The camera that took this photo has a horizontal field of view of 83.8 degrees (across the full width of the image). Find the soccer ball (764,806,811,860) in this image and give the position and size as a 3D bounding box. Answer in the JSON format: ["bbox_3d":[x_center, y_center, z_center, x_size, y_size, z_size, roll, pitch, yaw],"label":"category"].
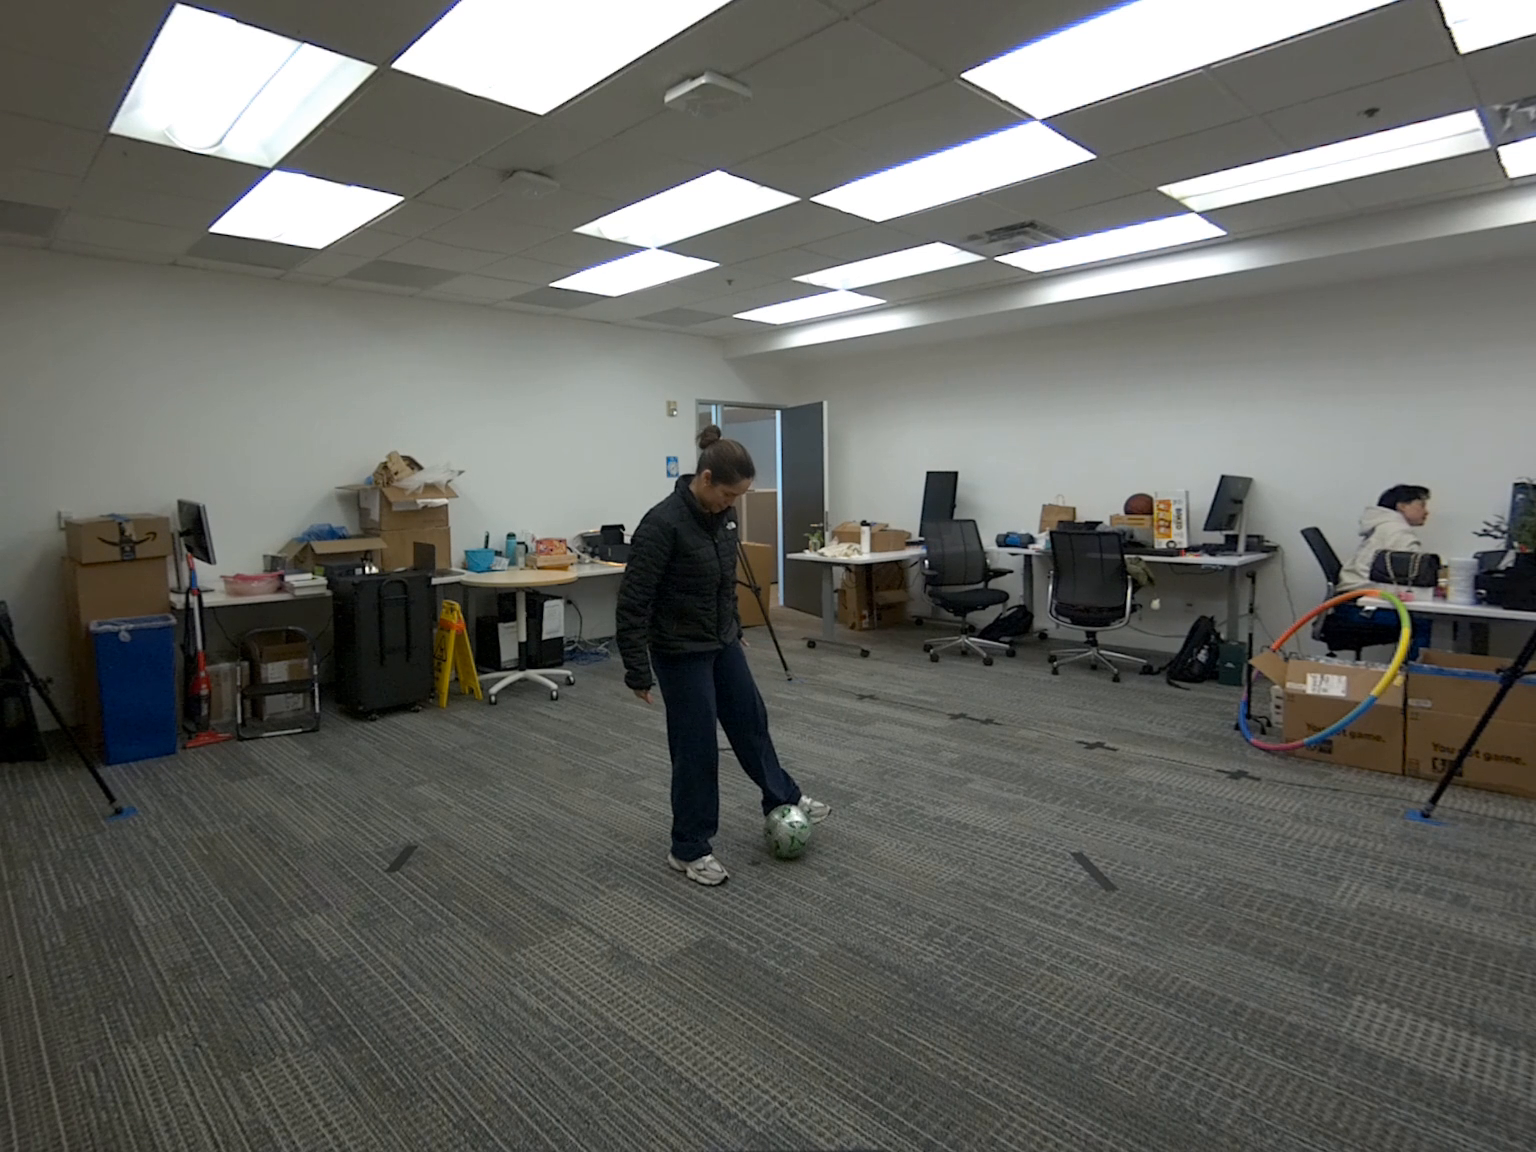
[{"bbox_3d":[0.076,0.942,3.154,0.187,0.187,0.188,-1,5,-2],"label":"soccer ball"}]
